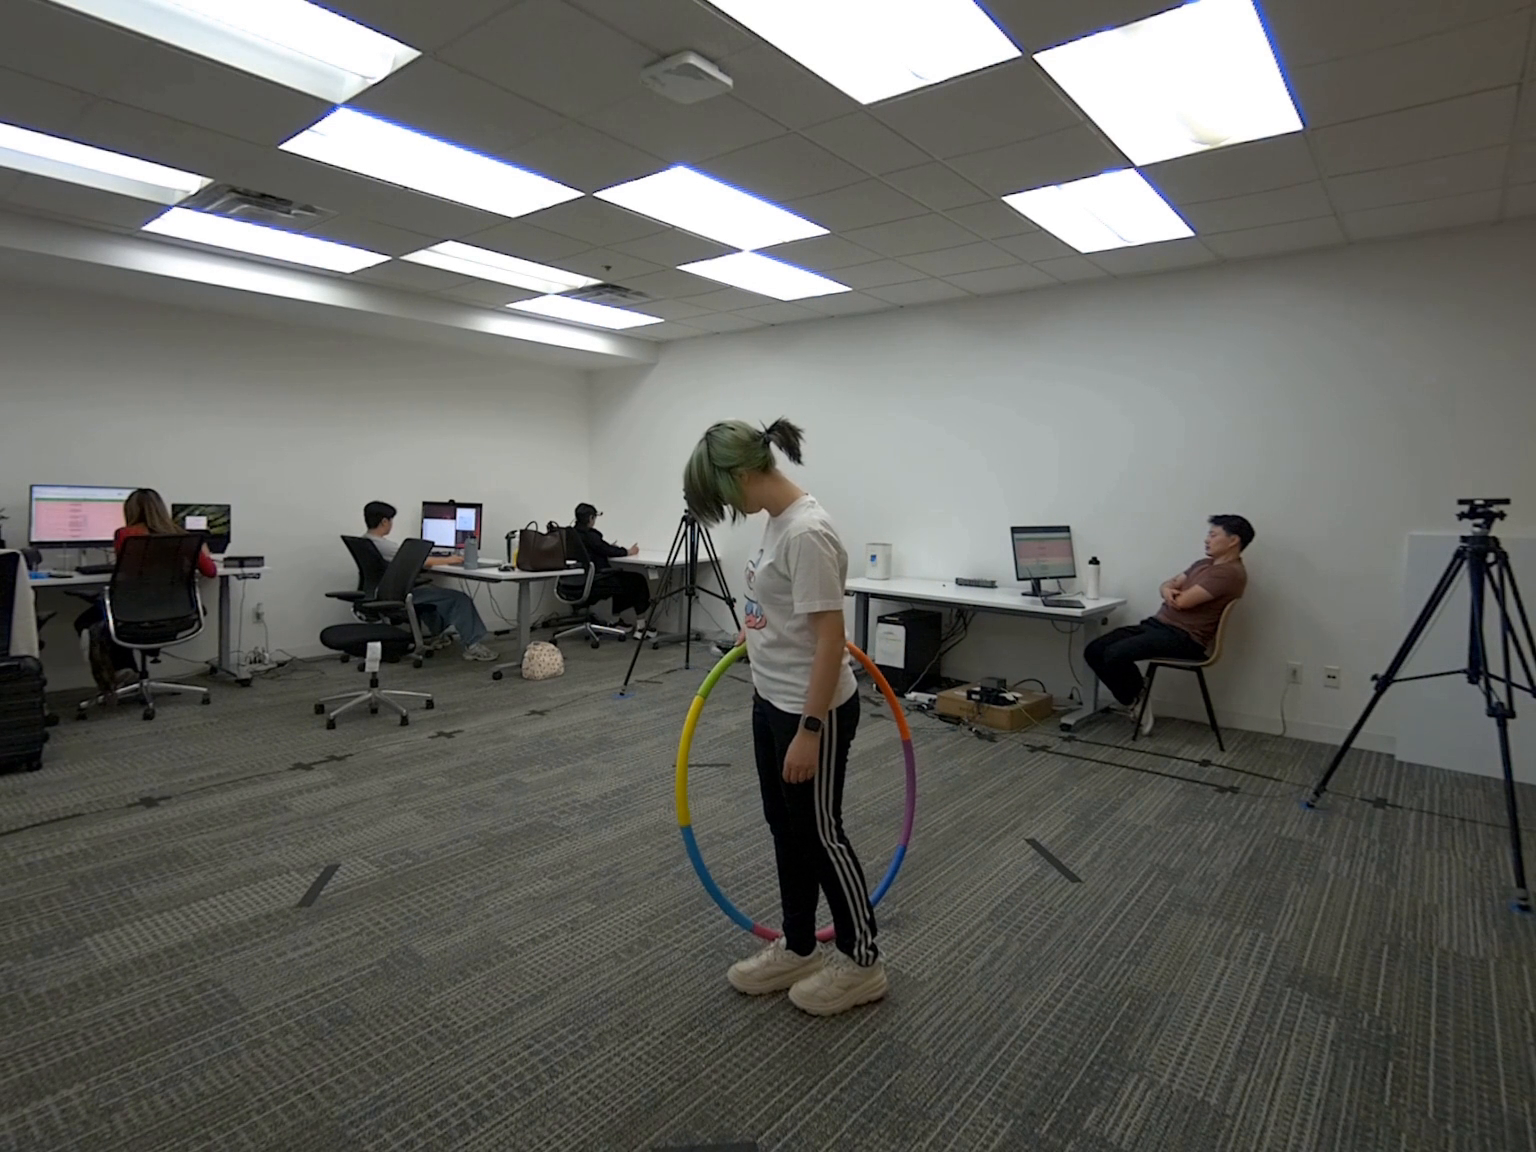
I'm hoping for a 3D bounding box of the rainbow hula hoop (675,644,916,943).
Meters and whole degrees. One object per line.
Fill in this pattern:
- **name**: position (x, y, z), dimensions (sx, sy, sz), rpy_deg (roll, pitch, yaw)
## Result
- **rainbow hula hoop**: position (0.118, 0.646, 2.728), dimensions (0.950, 0.990, 0.036), rpy_deg (-2, -12, -36)
